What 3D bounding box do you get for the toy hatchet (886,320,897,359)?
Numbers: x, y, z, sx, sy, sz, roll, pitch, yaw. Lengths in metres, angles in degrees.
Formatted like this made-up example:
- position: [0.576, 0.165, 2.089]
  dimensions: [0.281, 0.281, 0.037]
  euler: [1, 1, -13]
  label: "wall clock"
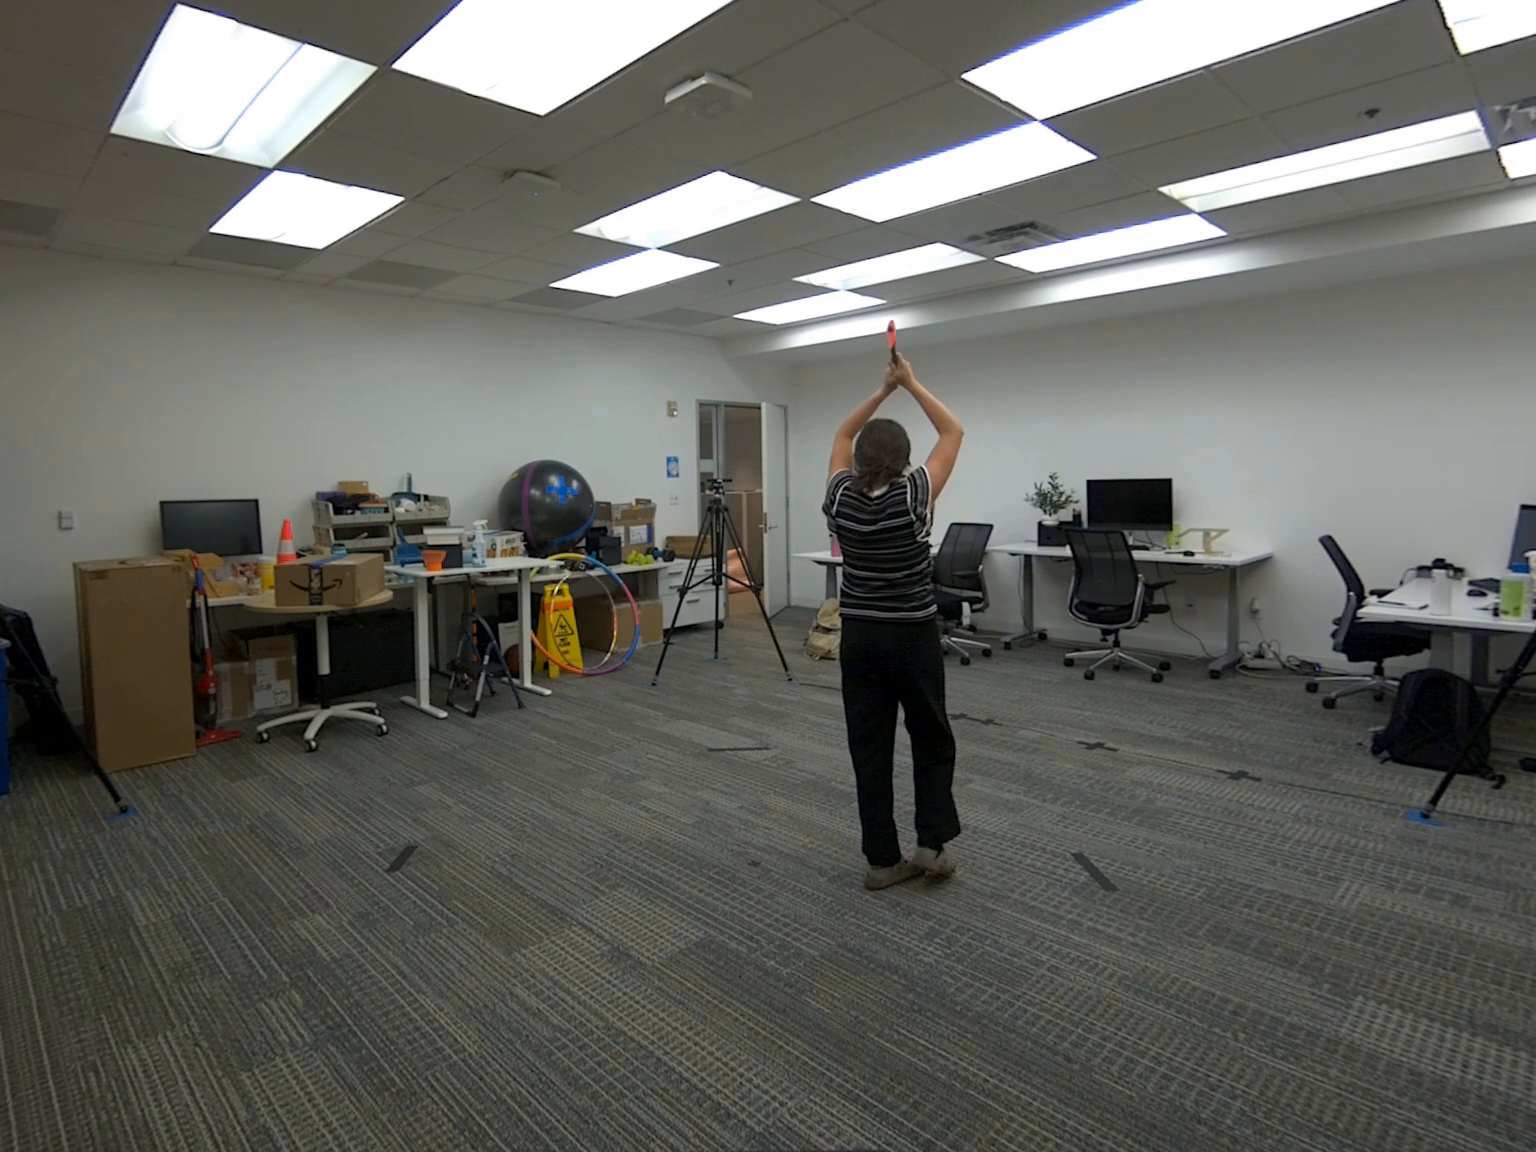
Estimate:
- position: [0.436, -0.785, 2.946]
  dimensions: [0.030, 0.133, 0.263]
  euler: [-4, -14, 12]
  label: "toy hatchet"
